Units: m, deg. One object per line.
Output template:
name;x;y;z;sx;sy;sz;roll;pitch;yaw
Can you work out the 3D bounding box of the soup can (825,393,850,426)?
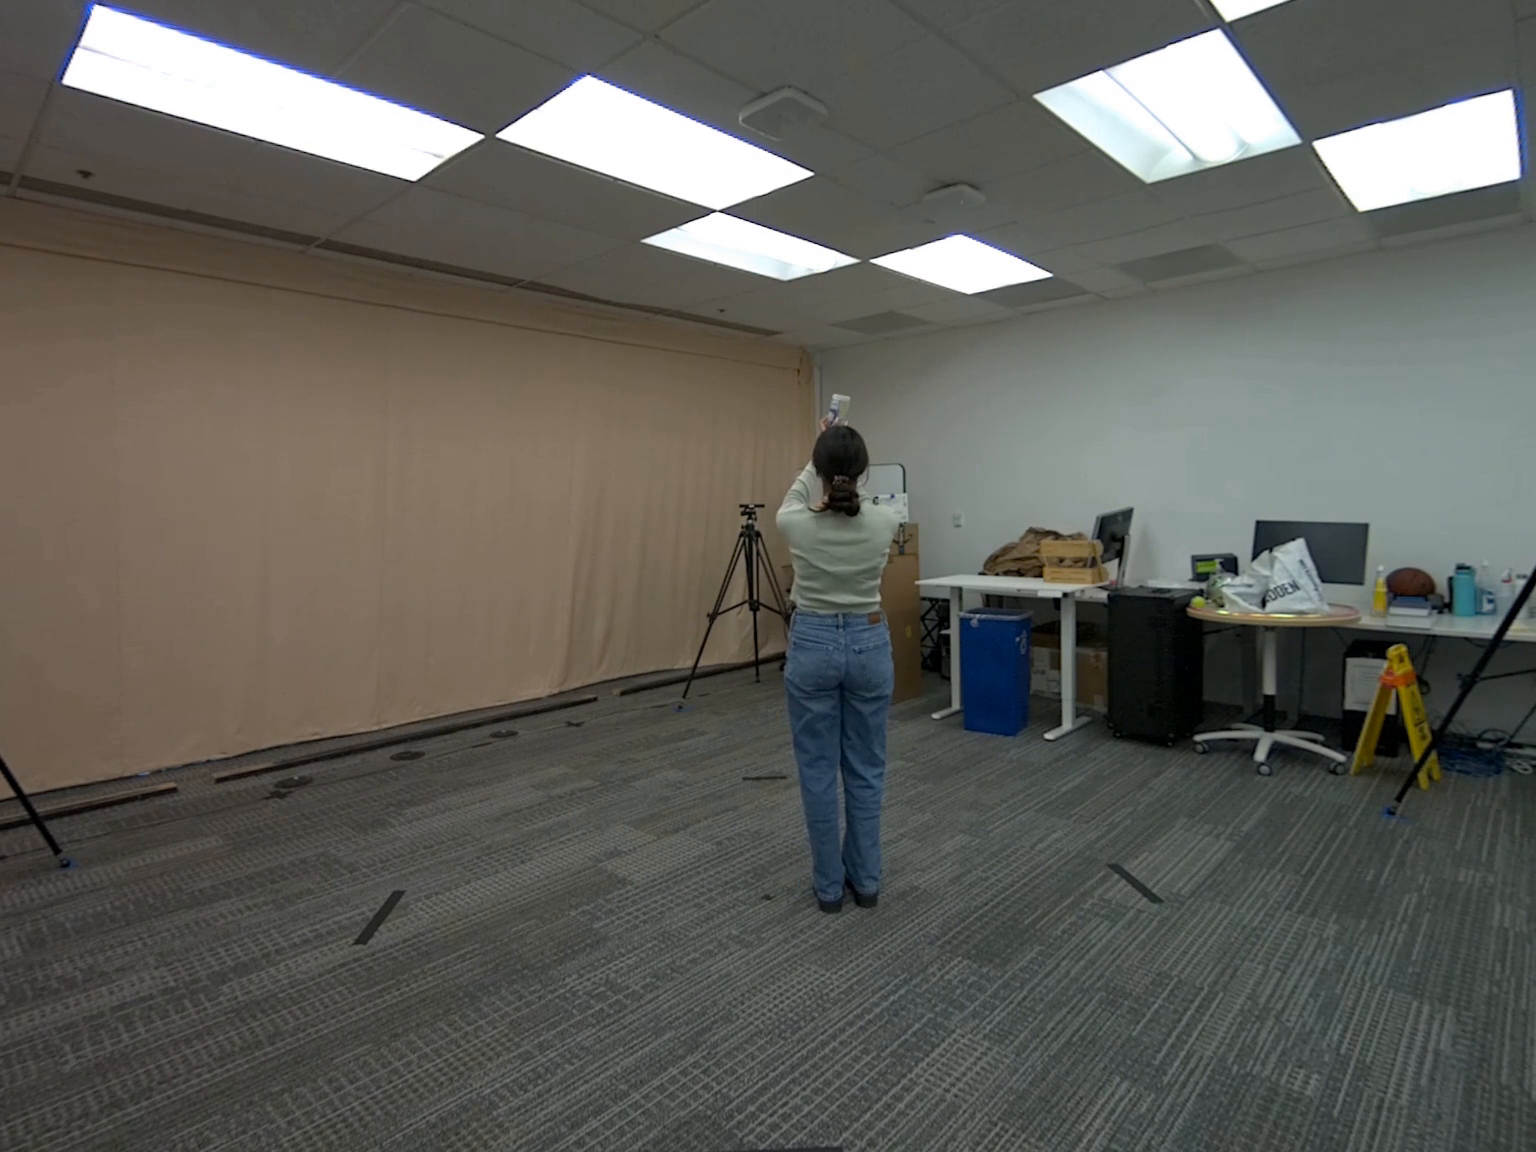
soup can;0.261;-0.613;3.151;0.067;0.121;0.068;10;14;-5
